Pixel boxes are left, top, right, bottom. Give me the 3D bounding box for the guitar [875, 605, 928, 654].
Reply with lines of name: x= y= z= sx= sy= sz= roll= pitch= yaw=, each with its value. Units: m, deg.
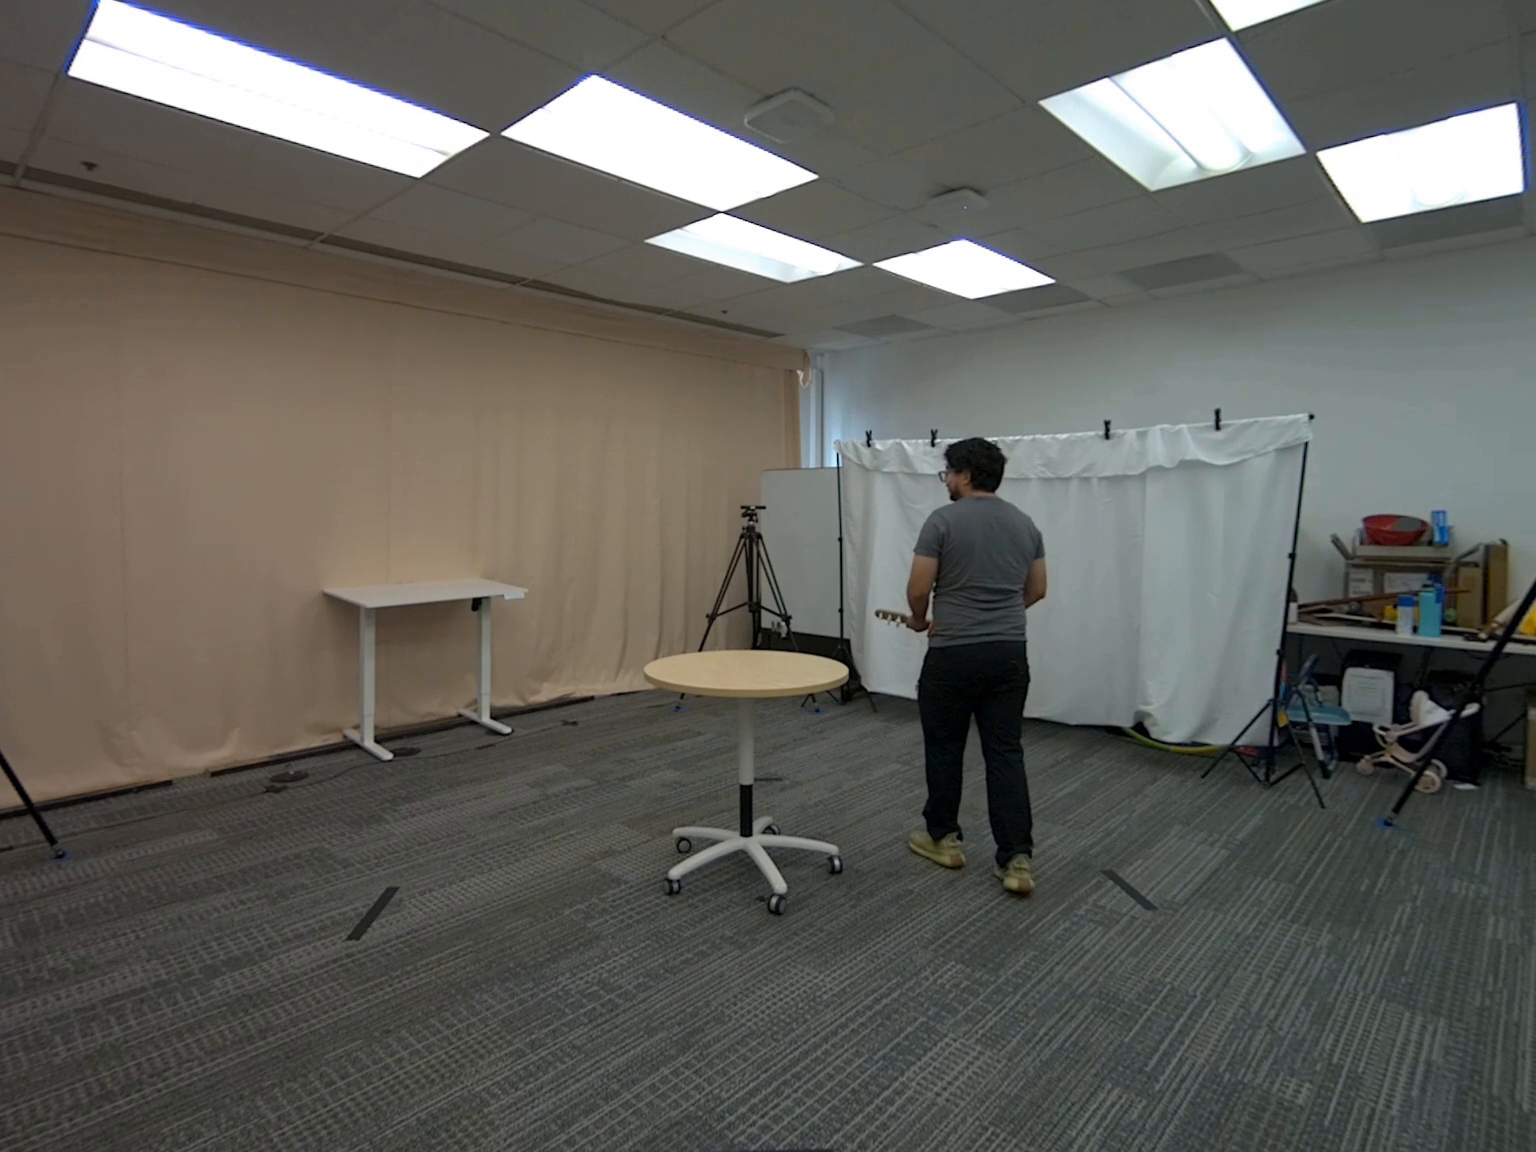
guitar: x=0.696 y=0.235 z=3.452 sx=0.509 sy=0.071 sz=0.188 roll=7 pitch=-39 yaw=19
